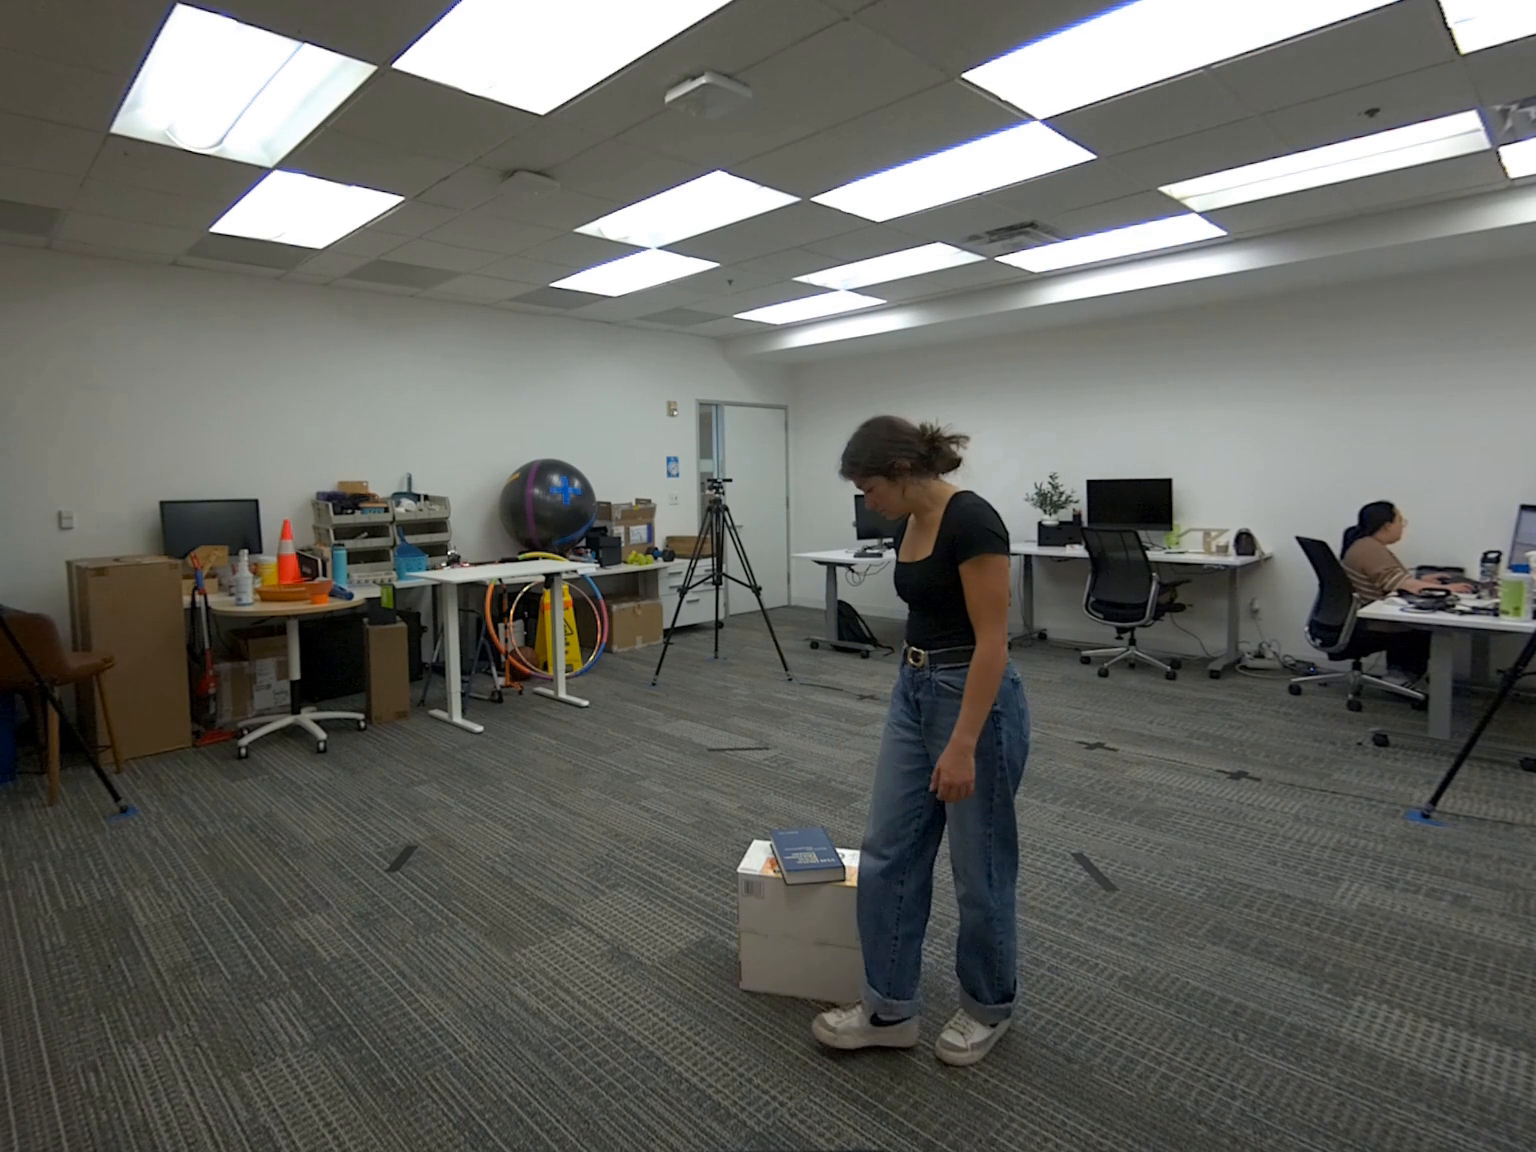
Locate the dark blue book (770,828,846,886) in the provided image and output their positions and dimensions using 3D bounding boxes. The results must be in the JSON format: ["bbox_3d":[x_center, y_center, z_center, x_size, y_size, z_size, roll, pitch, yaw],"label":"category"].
[{"bbox_3d":[0.106,0.769,2.352,0.162,0.045,0.248,-2,7,-9],"label":"dark blue book"}]
